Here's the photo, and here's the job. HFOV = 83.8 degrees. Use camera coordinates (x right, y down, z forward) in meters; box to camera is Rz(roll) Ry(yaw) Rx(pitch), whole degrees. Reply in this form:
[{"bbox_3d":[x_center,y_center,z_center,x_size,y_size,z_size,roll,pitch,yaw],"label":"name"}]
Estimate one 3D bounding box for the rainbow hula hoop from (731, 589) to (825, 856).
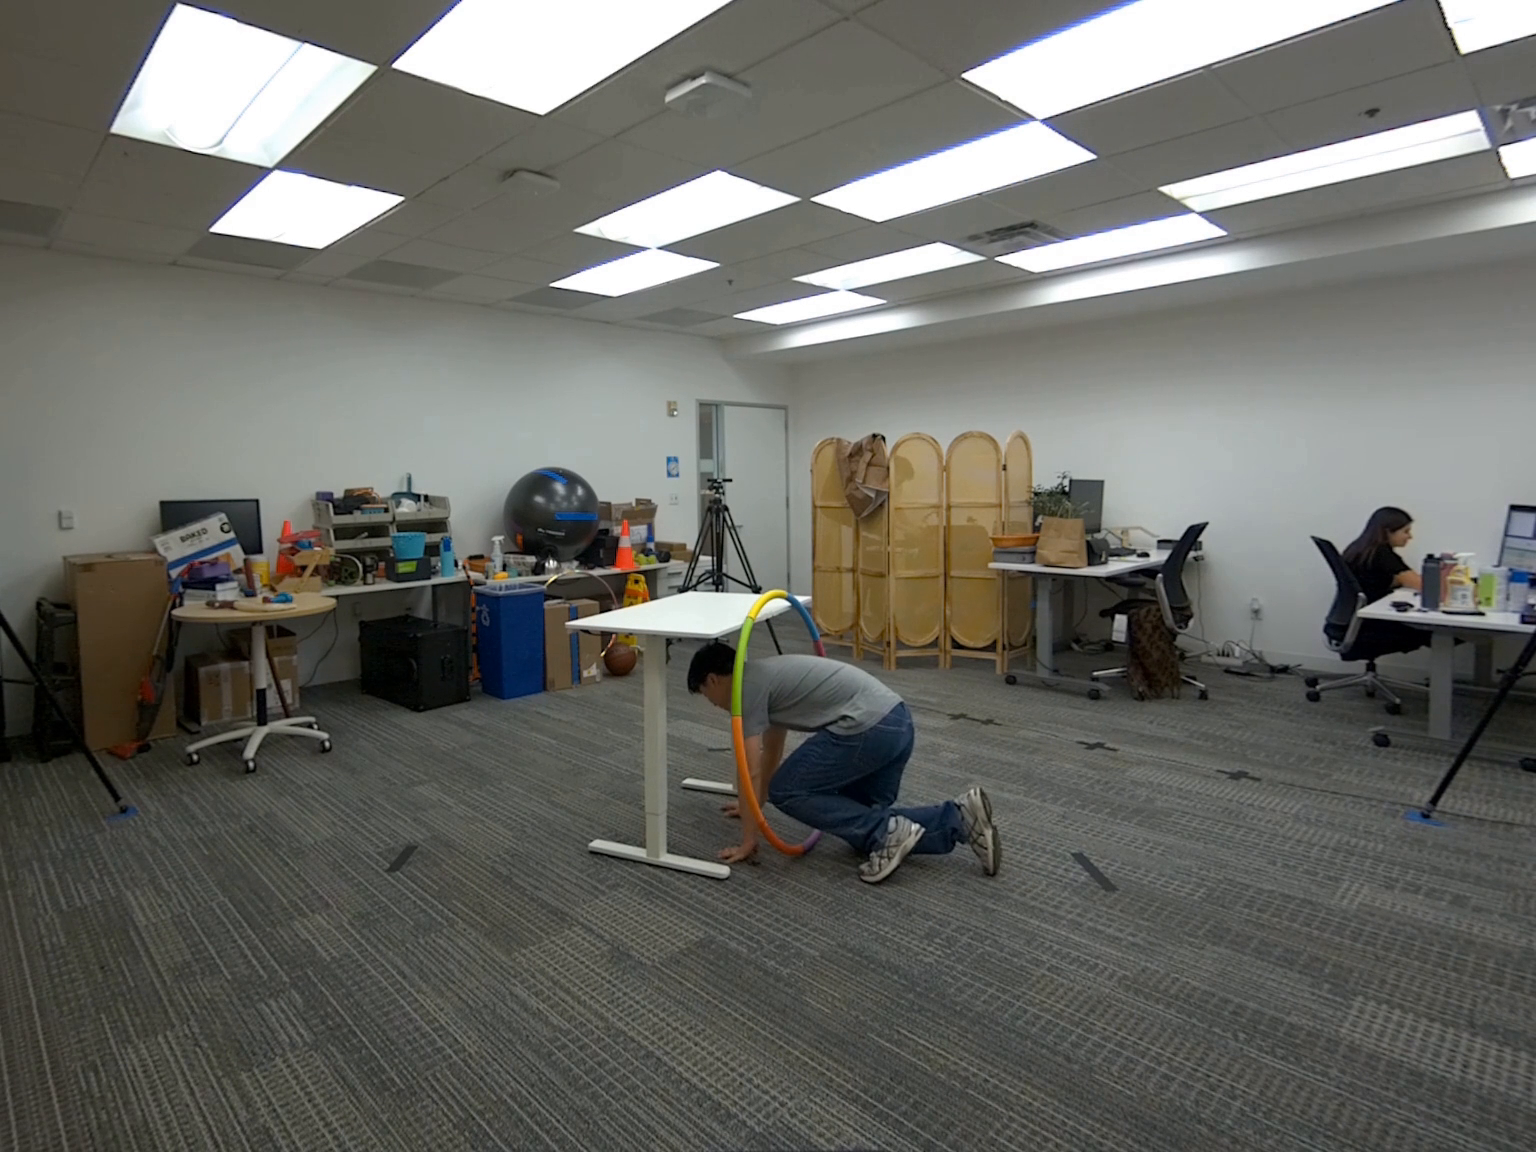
[{"bbox_3d":[0.085,0.543,3.263,0.036,0.979,0.962,-10,1,22],"label":"rainbow hula hoop"}]
